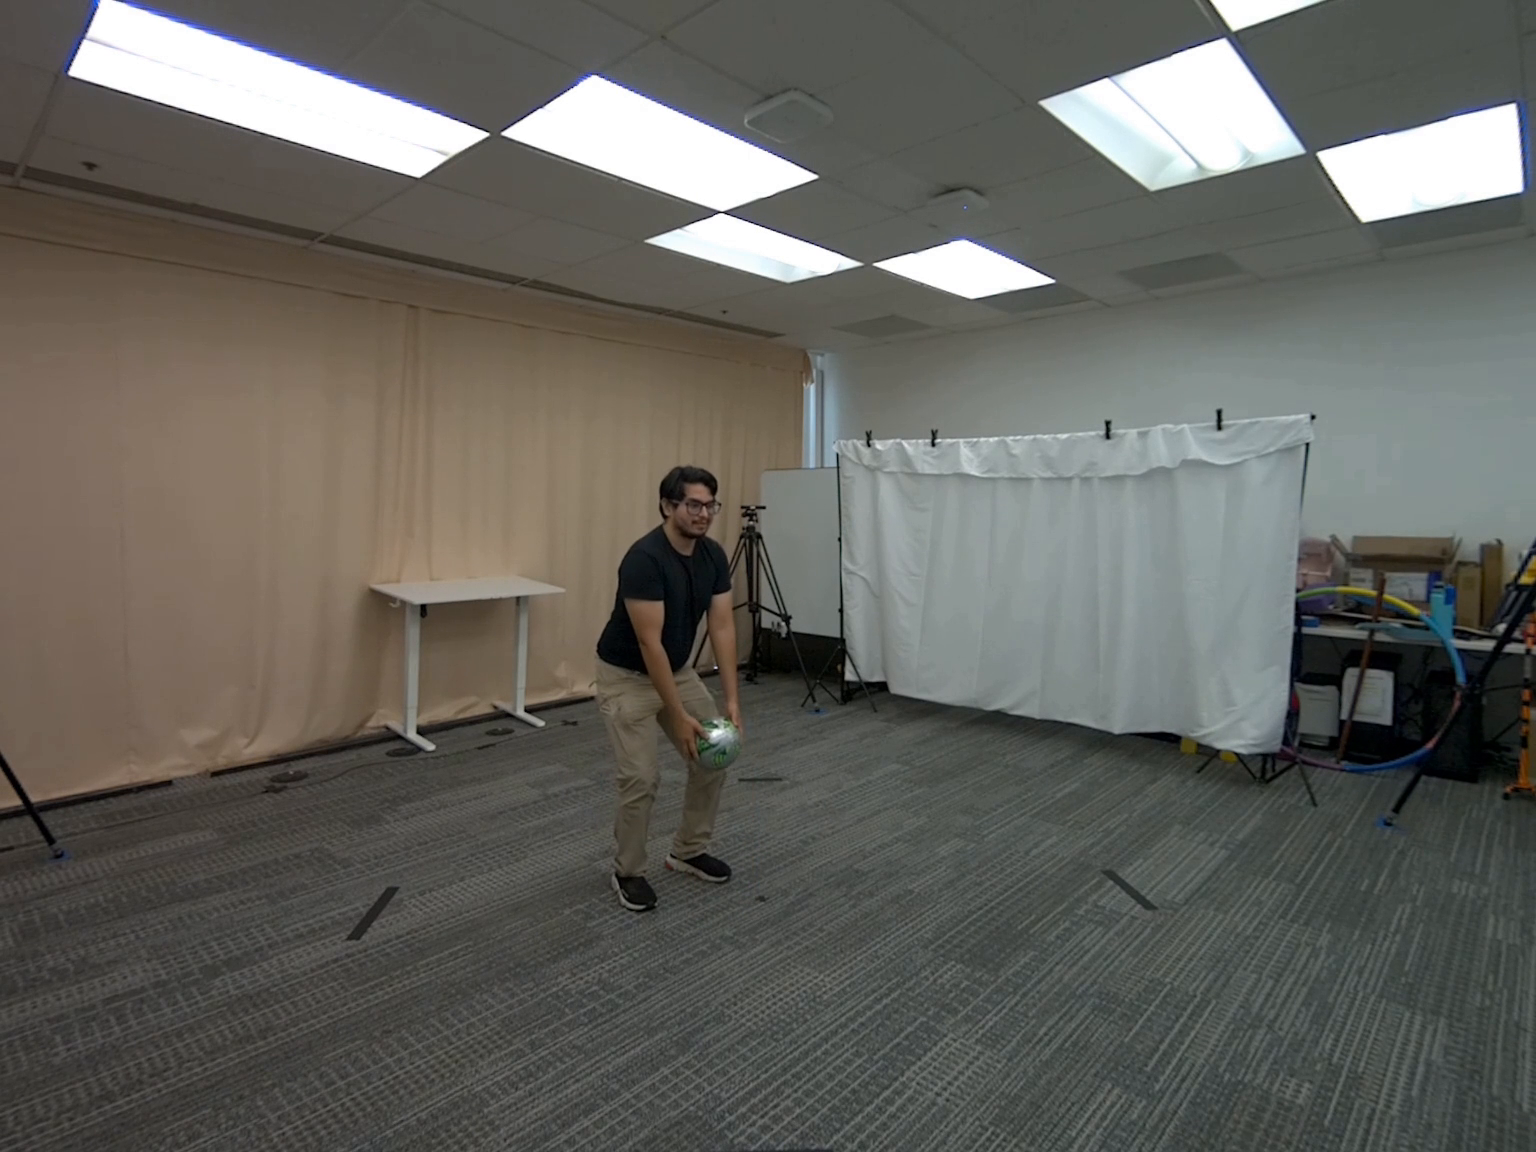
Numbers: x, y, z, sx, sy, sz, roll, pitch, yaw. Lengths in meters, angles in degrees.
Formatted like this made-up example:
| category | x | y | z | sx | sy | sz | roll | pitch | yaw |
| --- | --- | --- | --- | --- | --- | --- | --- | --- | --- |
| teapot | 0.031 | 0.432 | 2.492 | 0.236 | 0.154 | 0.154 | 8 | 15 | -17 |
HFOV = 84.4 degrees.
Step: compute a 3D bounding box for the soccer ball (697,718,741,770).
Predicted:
| category | x | y | z | sx | sy | sz | roll | pitch | yaw |
| --- | --- | --- | --- | --- | --- | --- | --- | --- | --- |
| soccer ball | -0.184 | 0.574 | 2.873 | 0.187 | 0.187 | 0.188 | 0 | 4 | -2 |
